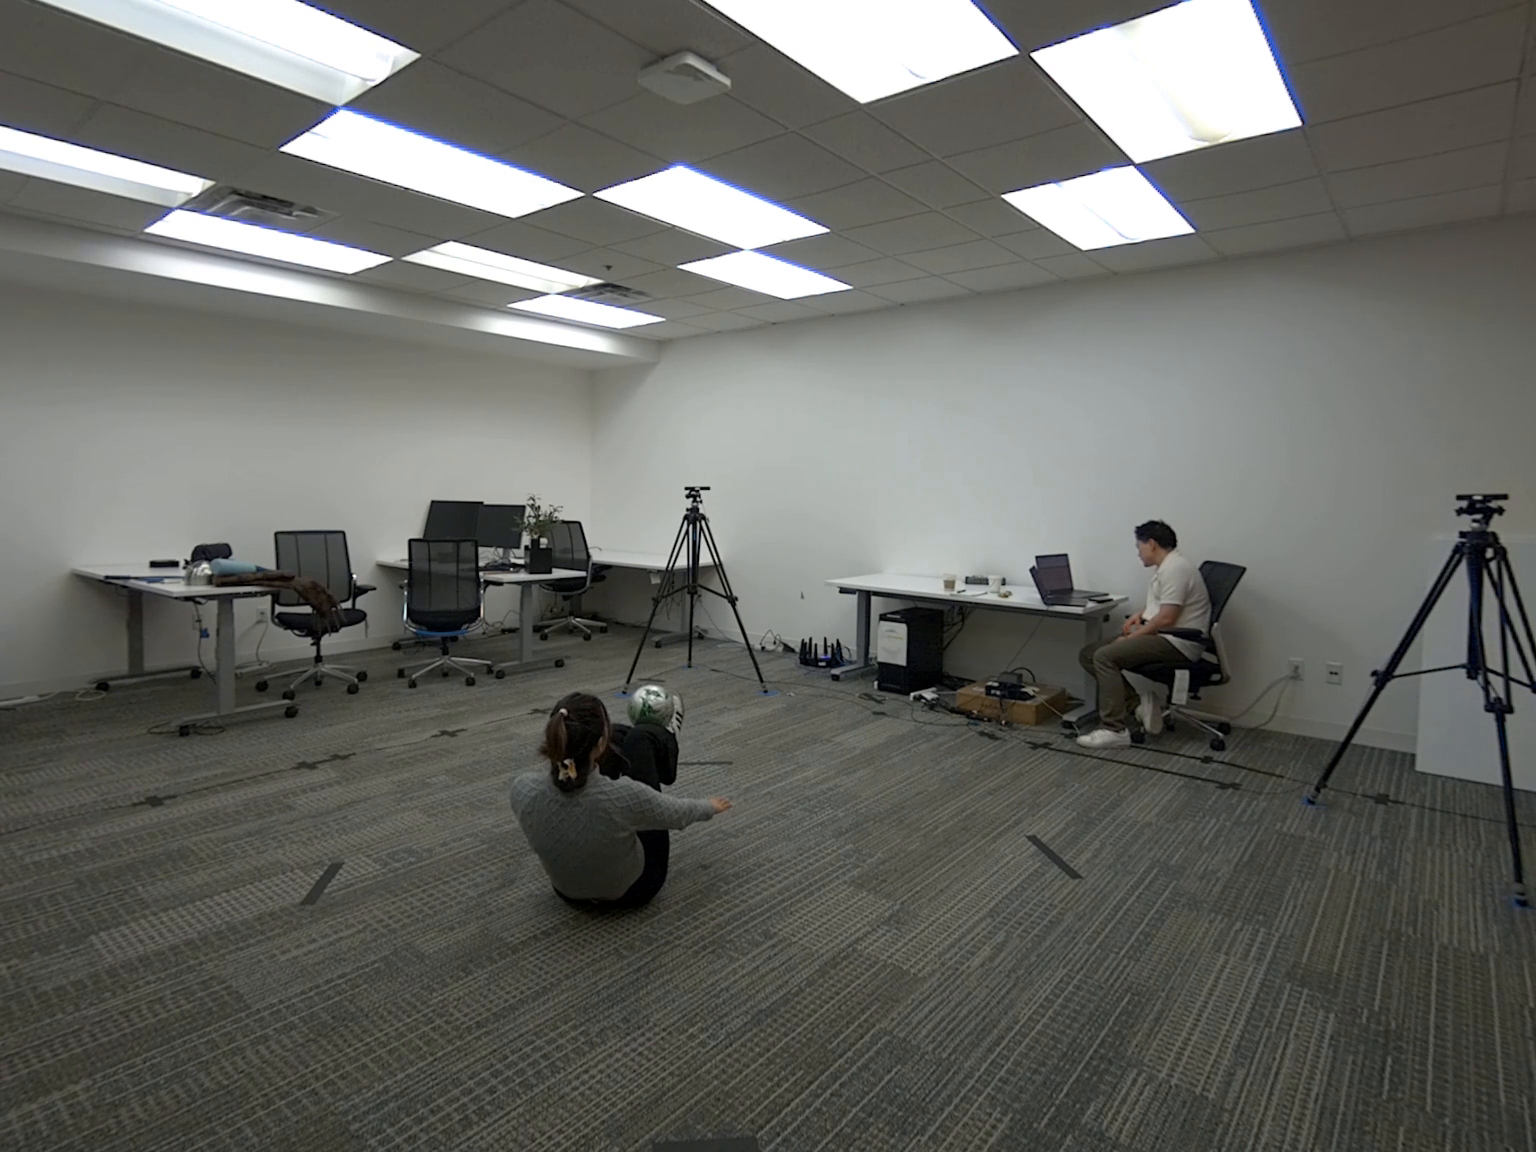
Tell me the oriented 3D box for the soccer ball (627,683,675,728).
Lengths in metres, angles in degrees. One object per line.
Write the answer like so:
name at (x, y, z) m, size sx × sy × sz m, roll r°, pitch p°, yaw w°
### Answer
soccer ball at (-0.475, 0.525, 3.365) m, size 0.187 × 0.187 × 0.188 m, roll 0°, pitch 4°, yaw -2°
